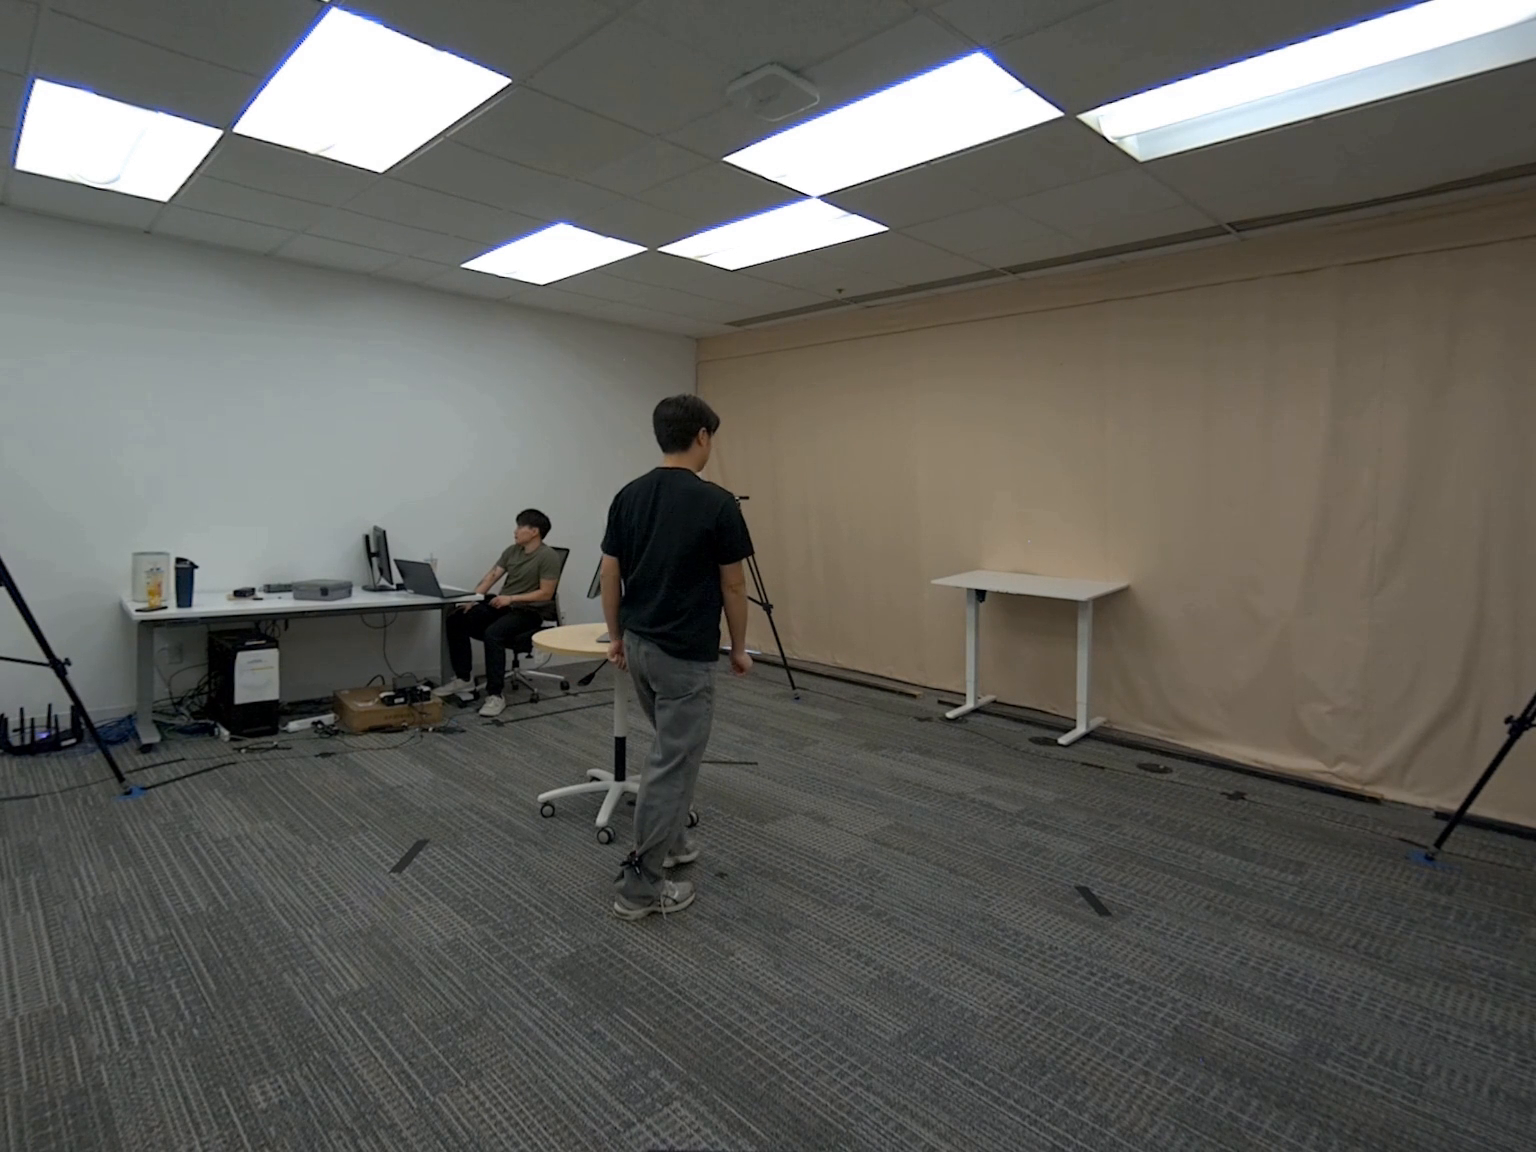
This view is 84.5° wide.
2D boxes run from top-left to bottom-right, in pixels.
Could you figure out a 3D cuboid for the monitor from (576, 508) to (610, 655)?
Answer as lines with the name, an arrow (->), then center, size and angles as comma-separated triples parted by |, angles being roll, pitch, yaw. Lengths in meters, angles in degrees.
monitor -> -0.622, 0.001, 3.595 | 0.223, 0.564, 0.561 | 3, 4, 2
